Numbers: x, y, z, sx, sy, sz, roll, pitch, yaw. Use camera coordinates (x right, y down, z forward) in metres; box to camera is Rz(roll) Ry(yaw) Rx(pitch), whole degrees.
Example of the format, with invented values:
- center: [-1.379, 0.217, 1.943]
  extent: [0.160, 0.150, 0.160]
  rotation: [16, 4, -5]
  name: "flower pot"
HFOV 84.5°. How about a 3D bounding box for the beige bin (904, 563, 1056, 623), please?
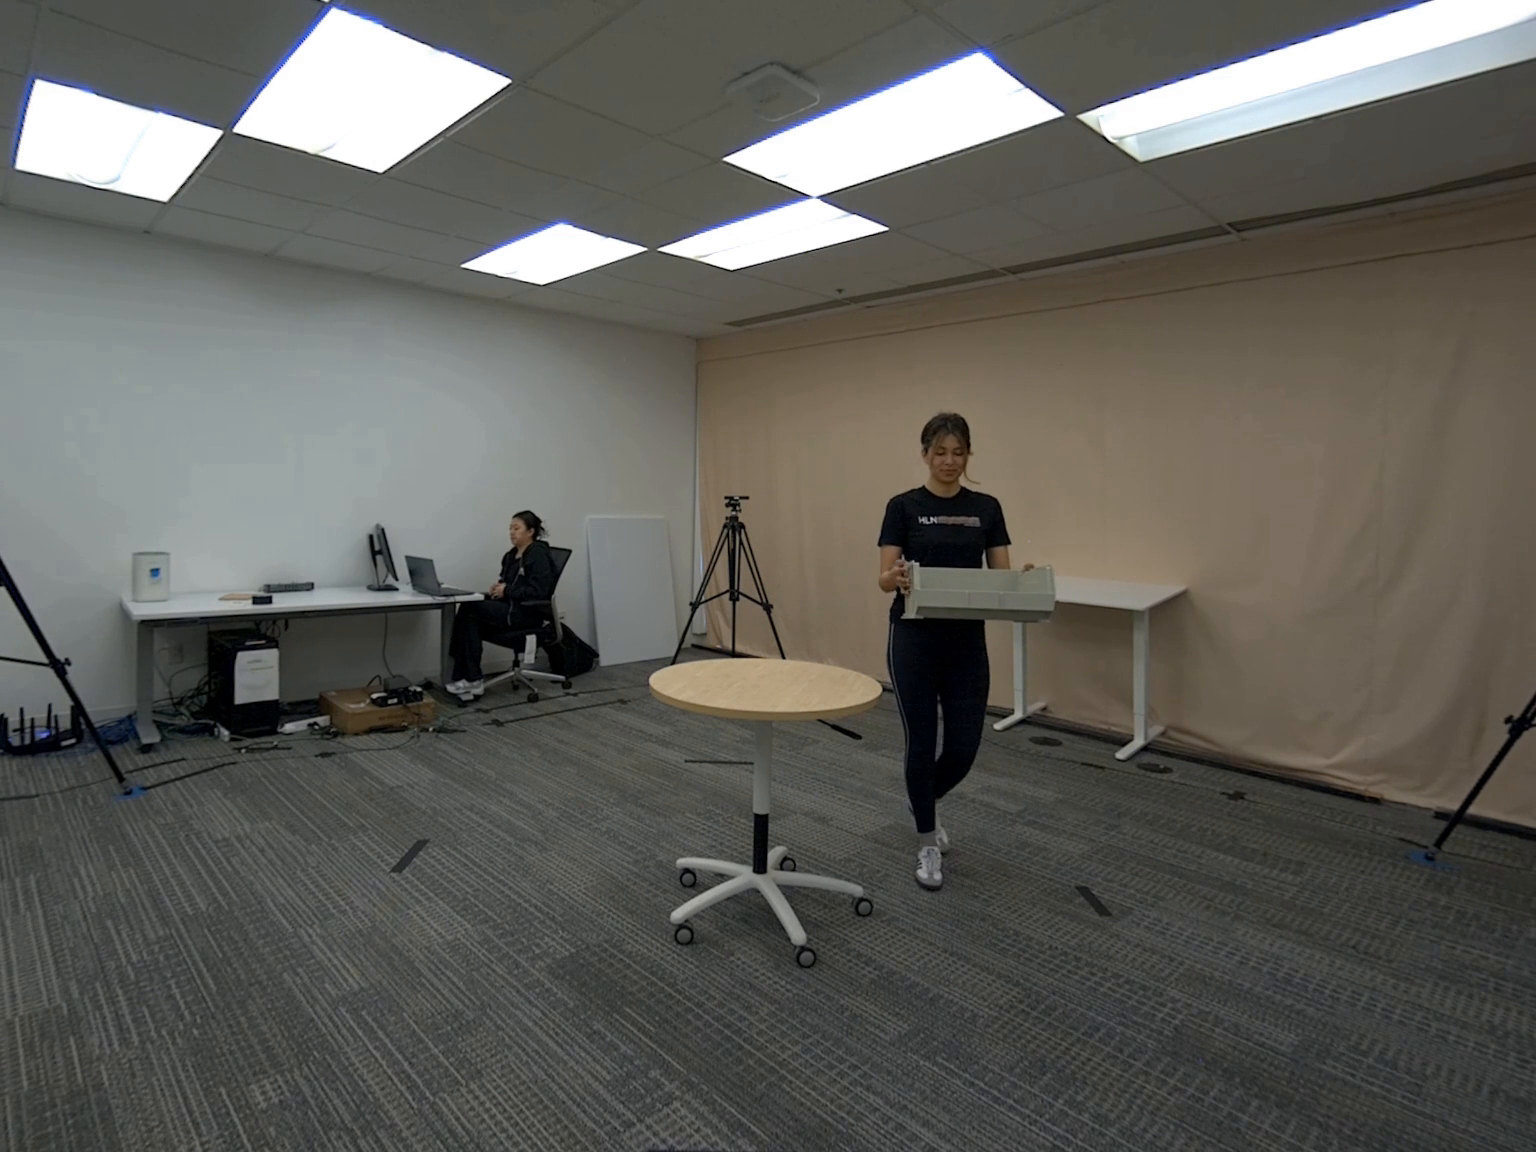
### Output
- center: [0.652, 0.061, 2.718]
  extent: [0.424, 0.189, 0.375]
  rotation: [1, -4, 3]
  name: "beige bin"
